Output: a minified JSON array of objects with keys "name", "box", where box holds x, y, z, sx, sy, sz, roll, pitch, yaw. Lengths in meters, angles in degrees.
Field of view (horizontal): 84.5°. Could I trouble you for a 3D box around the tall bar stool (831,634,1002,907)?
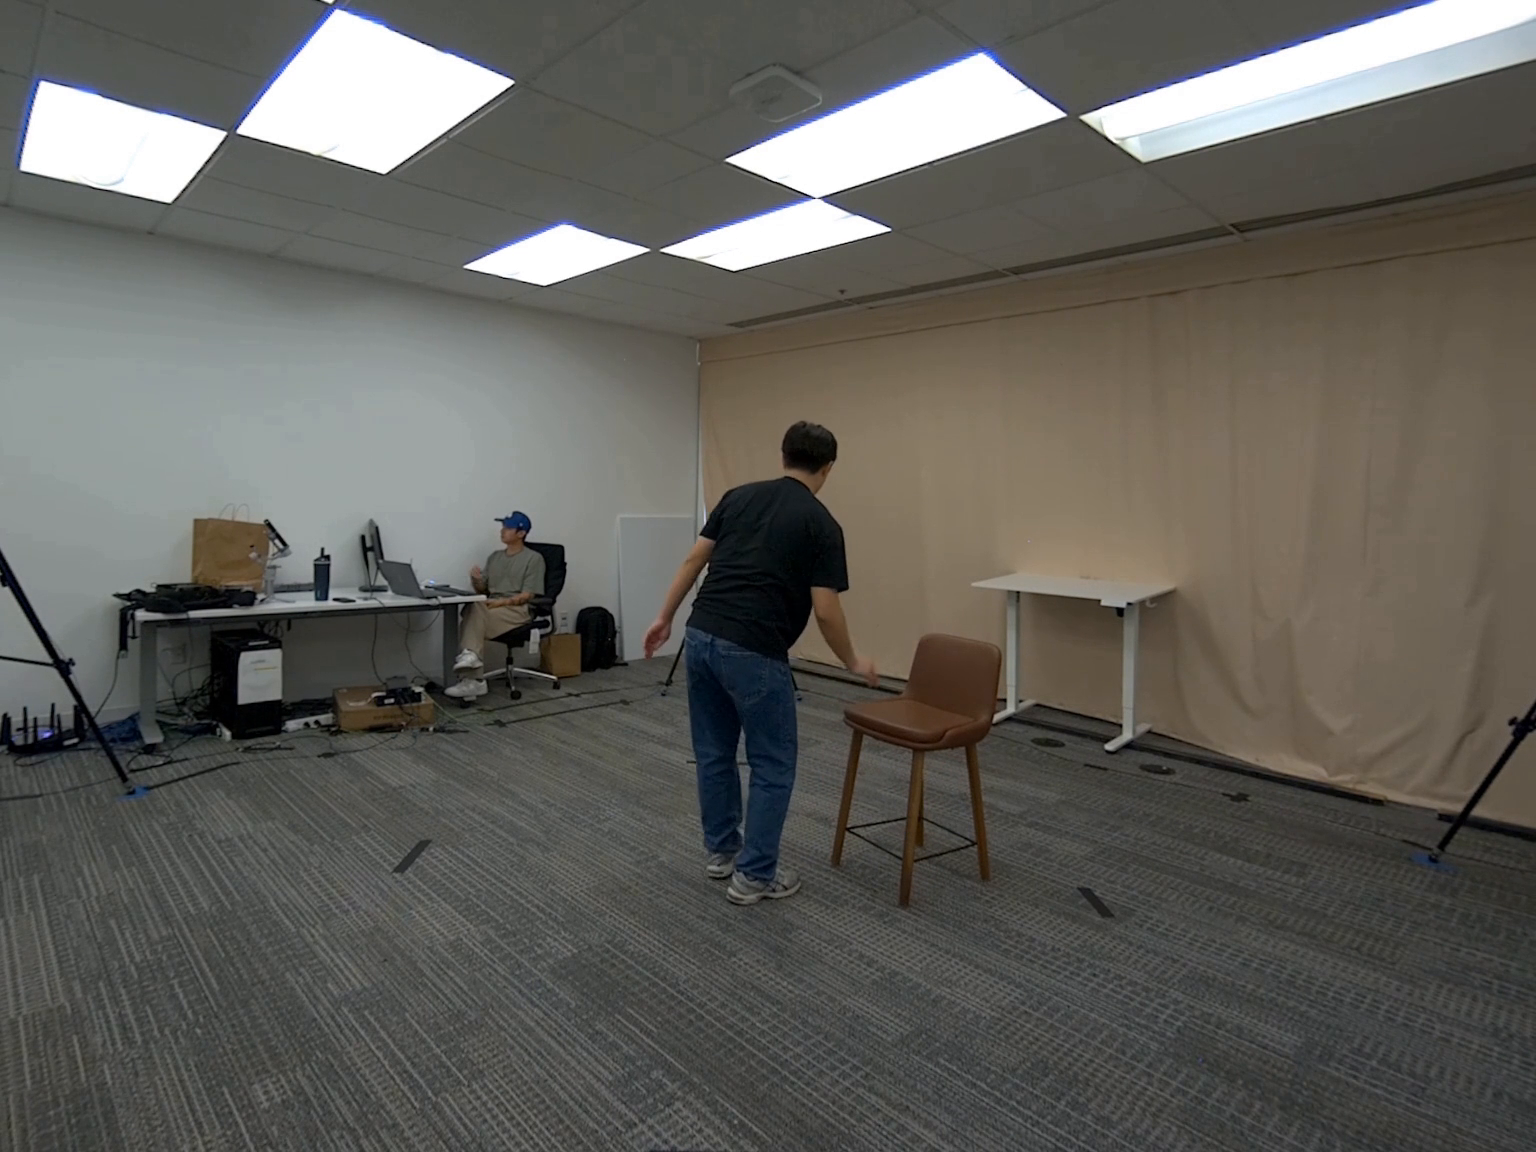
[{"name":"tall bar stool","box":[0.546,0.680,3.154,0.457,0.888,0.467,2,2,-33]}]
